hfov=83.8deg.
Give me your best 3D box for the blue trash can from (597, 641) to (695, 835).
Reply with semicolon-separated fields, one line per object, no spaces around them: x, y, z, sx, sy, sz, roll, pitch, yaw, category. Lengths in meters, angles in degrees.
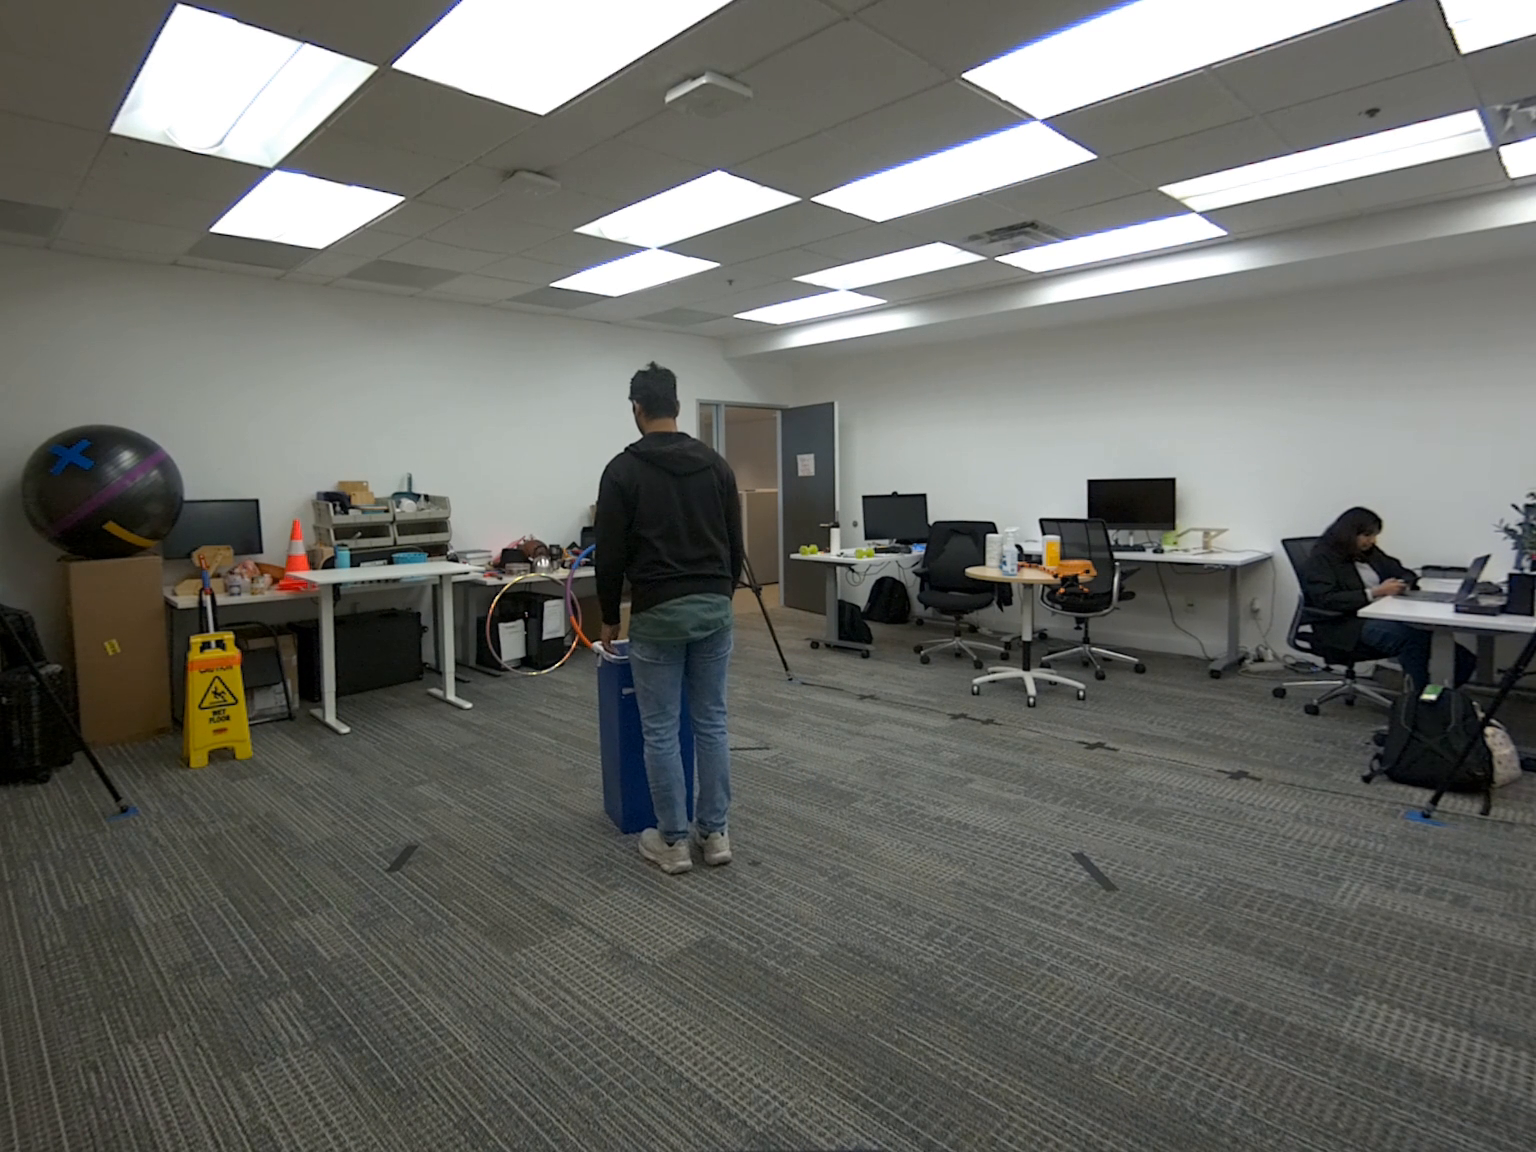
-0.502;0.643;3.557;0.366;0.711;0.387;-3;4;-25;blue trash can
